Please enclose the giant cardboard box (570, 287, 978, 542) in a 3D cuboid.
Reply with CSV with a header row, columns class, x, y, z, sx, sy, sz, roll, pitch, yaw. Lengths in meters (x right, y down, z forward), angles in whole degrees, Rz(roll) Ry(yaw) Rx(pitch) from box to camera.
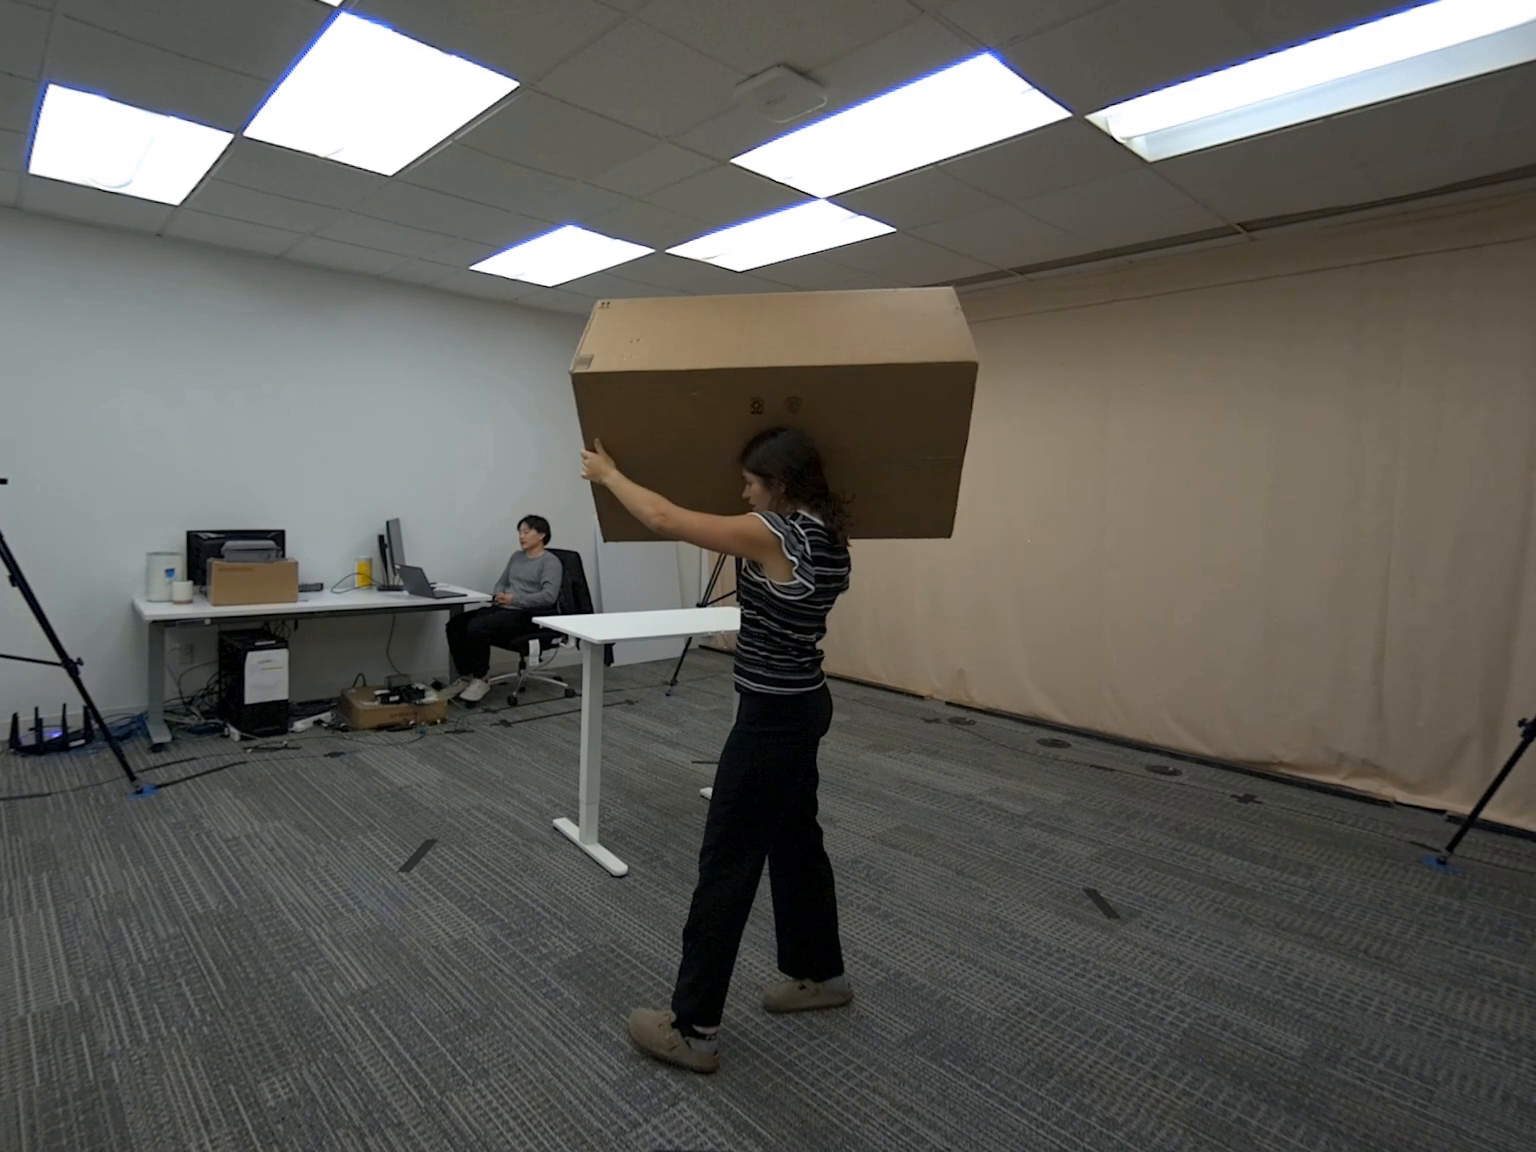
class,x,y,z,sx,sy,sz,roll,pitch,yaw
giant cardboard box,0.011,-0.451,2.425,1.029,0.564,0.435,-1,41,4
